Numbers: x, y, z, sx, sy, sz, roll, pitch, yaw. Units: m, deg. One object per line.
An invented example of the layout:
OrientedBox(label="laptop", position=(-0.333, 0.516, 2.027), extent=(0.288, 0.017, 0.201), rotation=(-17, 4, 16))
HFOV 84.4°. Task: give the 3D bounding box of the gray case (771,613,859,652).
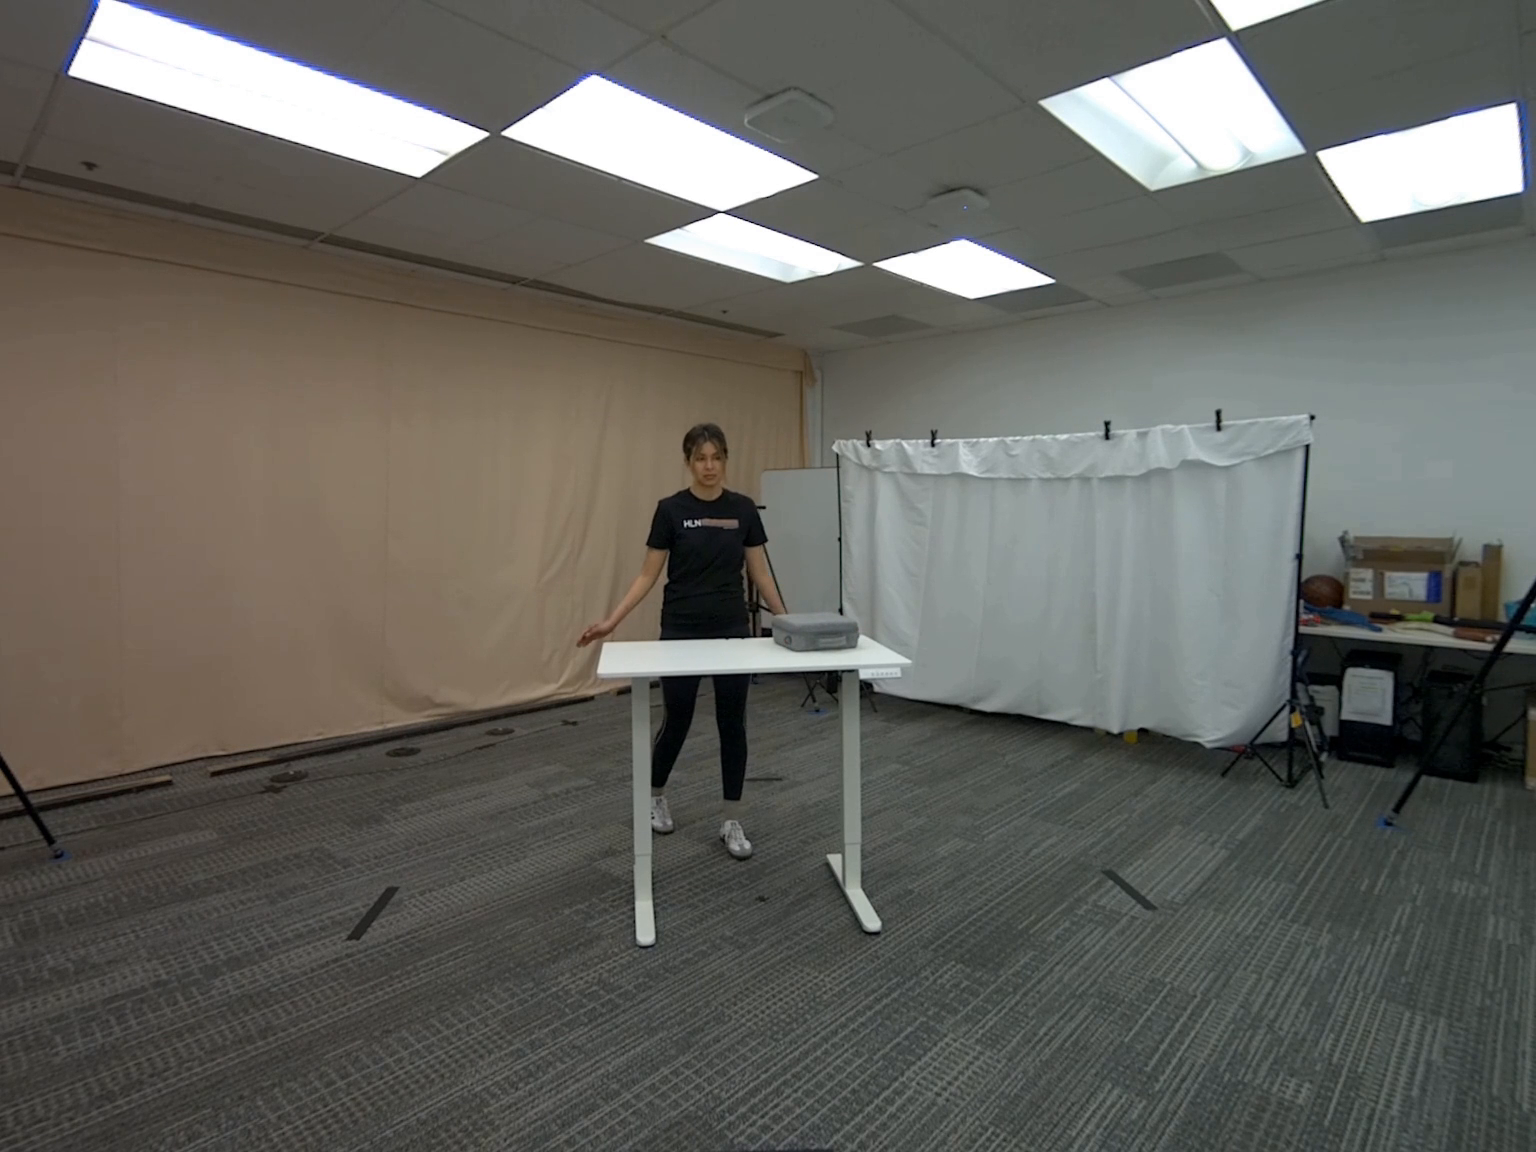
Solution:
OrientedBox(label="gray case", position=(0.172, 0.200, 3.047), extent=(0.252, 0.104, 0.266), rotation=(-2, 5, -18))
